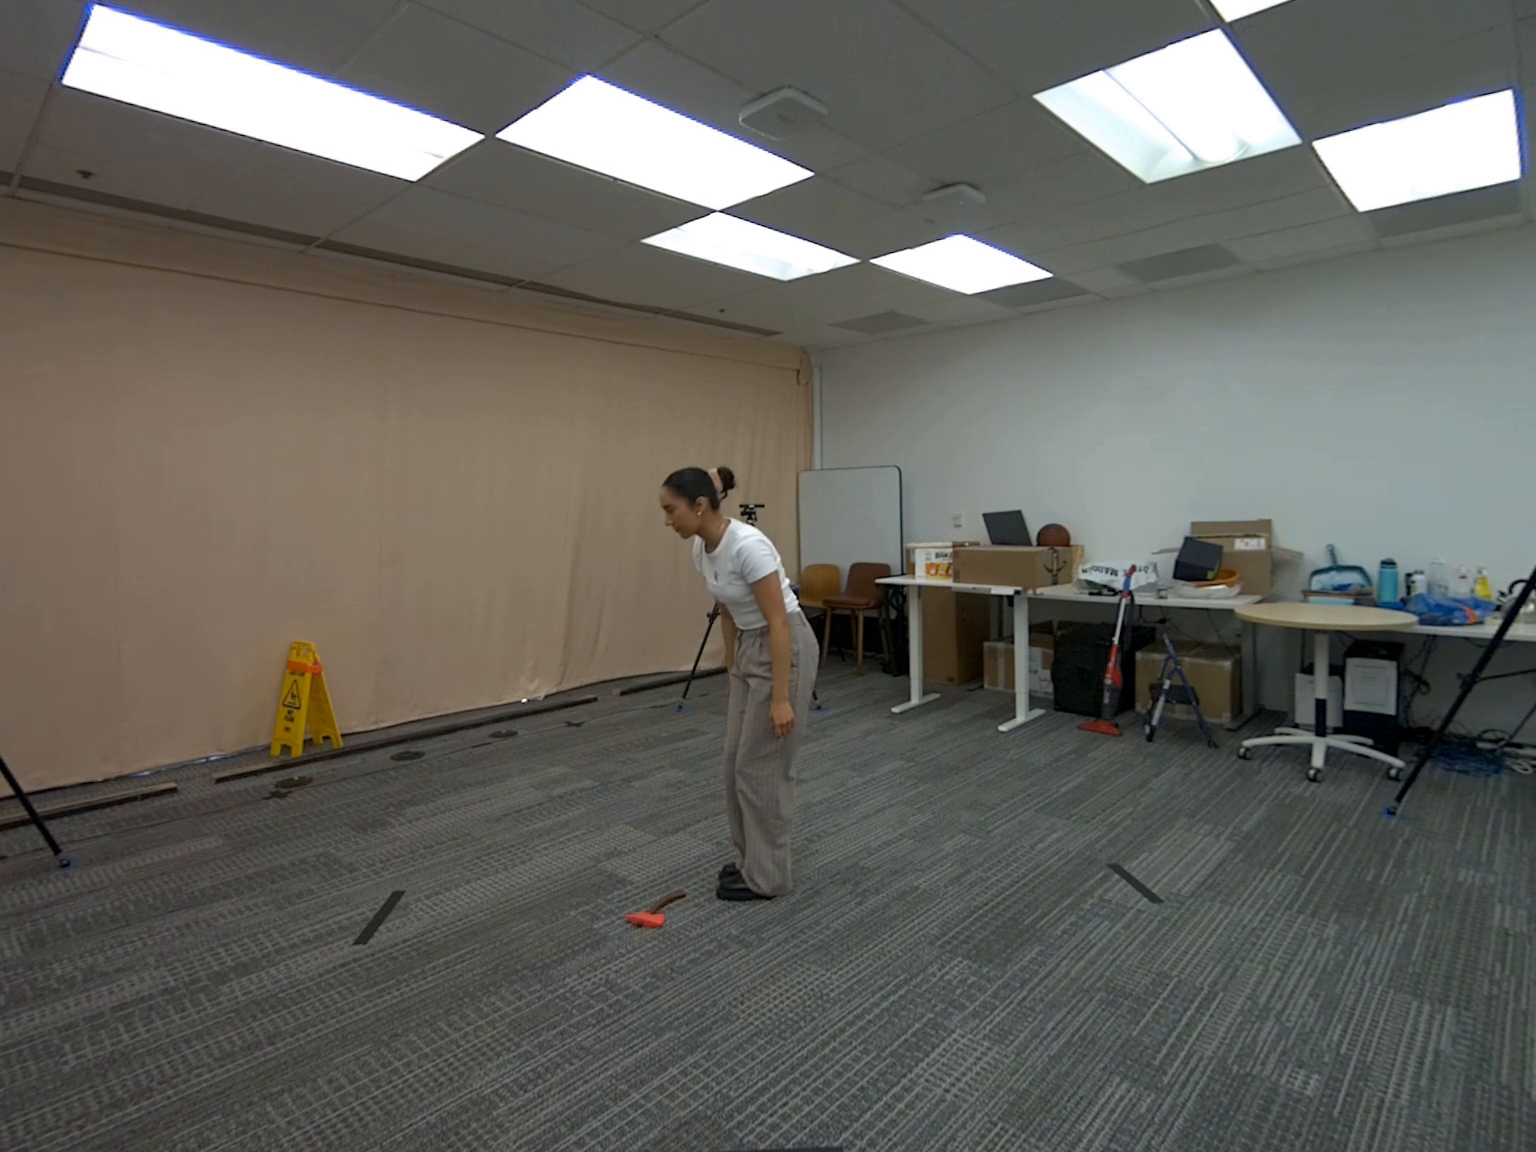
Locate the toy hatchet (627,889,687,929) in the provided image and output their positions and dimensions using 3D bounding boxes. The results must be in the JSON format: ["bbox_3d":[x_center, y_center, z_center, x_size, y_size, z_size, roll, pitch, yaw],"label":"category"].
[{"bbox_3d":[-0.351,1.150,2.887,0.135,0.029,0.262,0,4,39],"label":"toy hatchet"}]
